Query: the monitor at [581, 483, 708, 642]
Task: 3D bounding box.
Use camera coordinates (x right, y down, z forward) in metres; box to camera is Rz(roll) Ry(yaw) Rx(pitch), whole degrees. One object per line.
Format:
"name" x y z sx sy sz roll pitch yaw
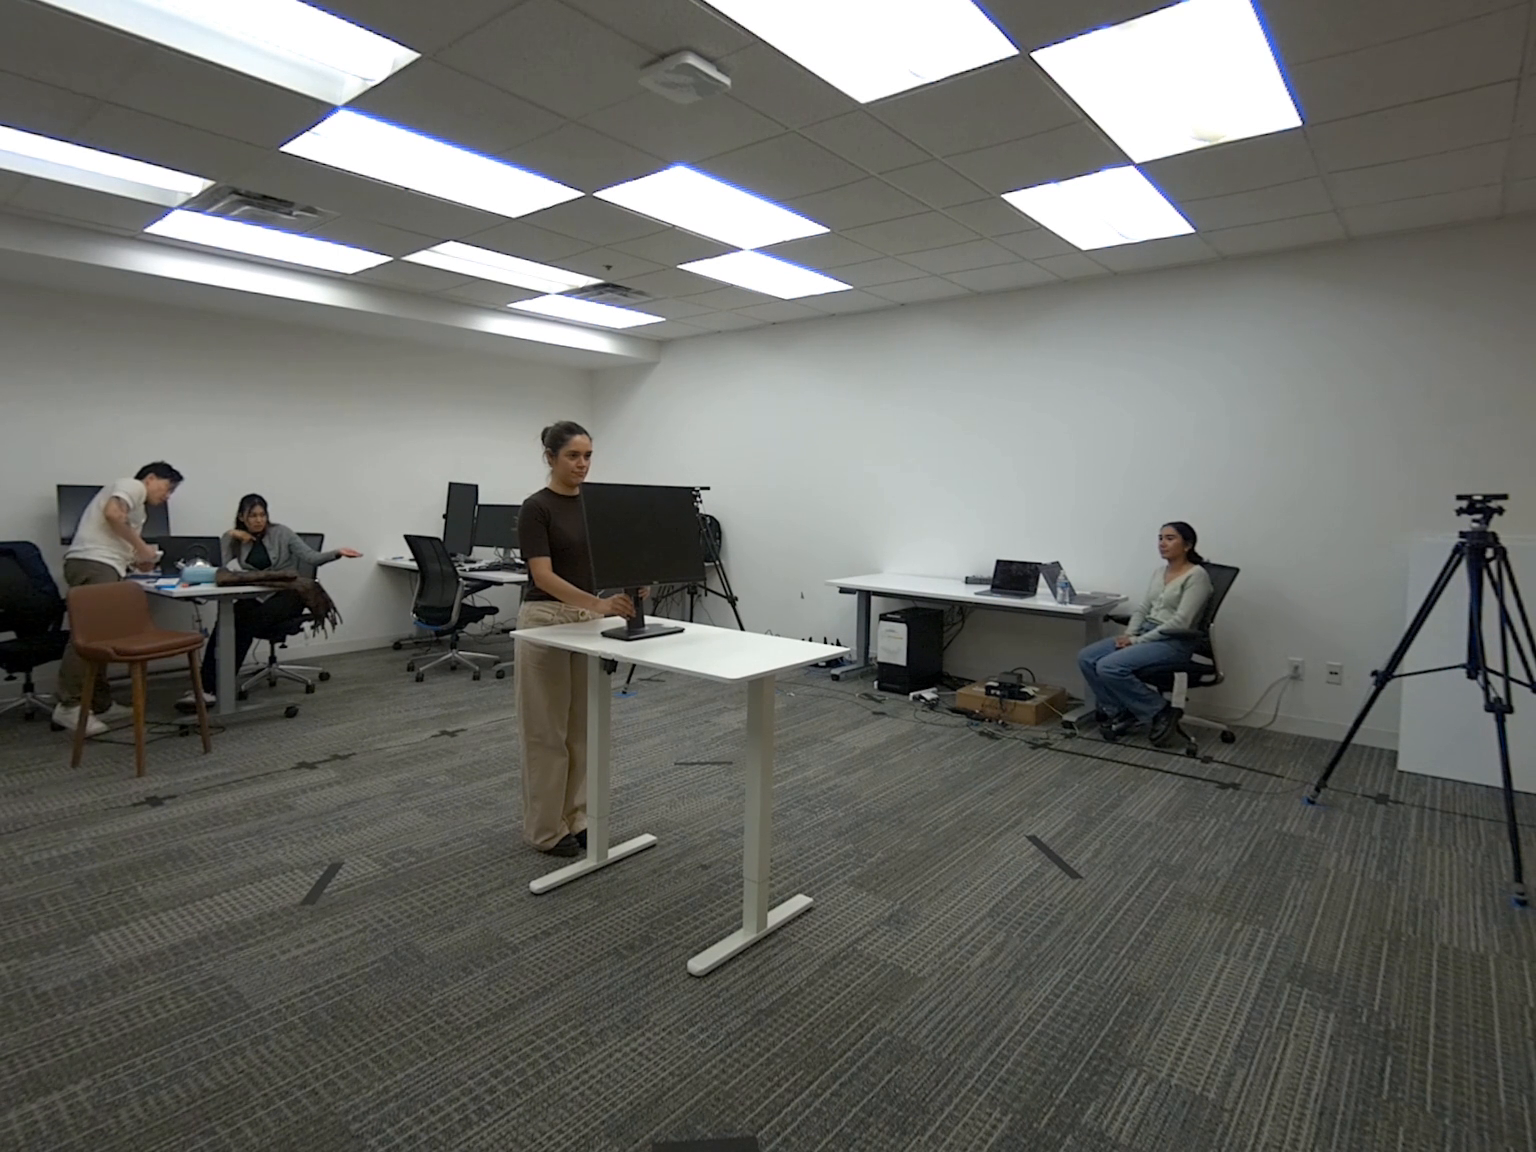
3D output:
"monitor" -0.435 -0.059 2.913 0.181 0.514 0.514 8 6 39
